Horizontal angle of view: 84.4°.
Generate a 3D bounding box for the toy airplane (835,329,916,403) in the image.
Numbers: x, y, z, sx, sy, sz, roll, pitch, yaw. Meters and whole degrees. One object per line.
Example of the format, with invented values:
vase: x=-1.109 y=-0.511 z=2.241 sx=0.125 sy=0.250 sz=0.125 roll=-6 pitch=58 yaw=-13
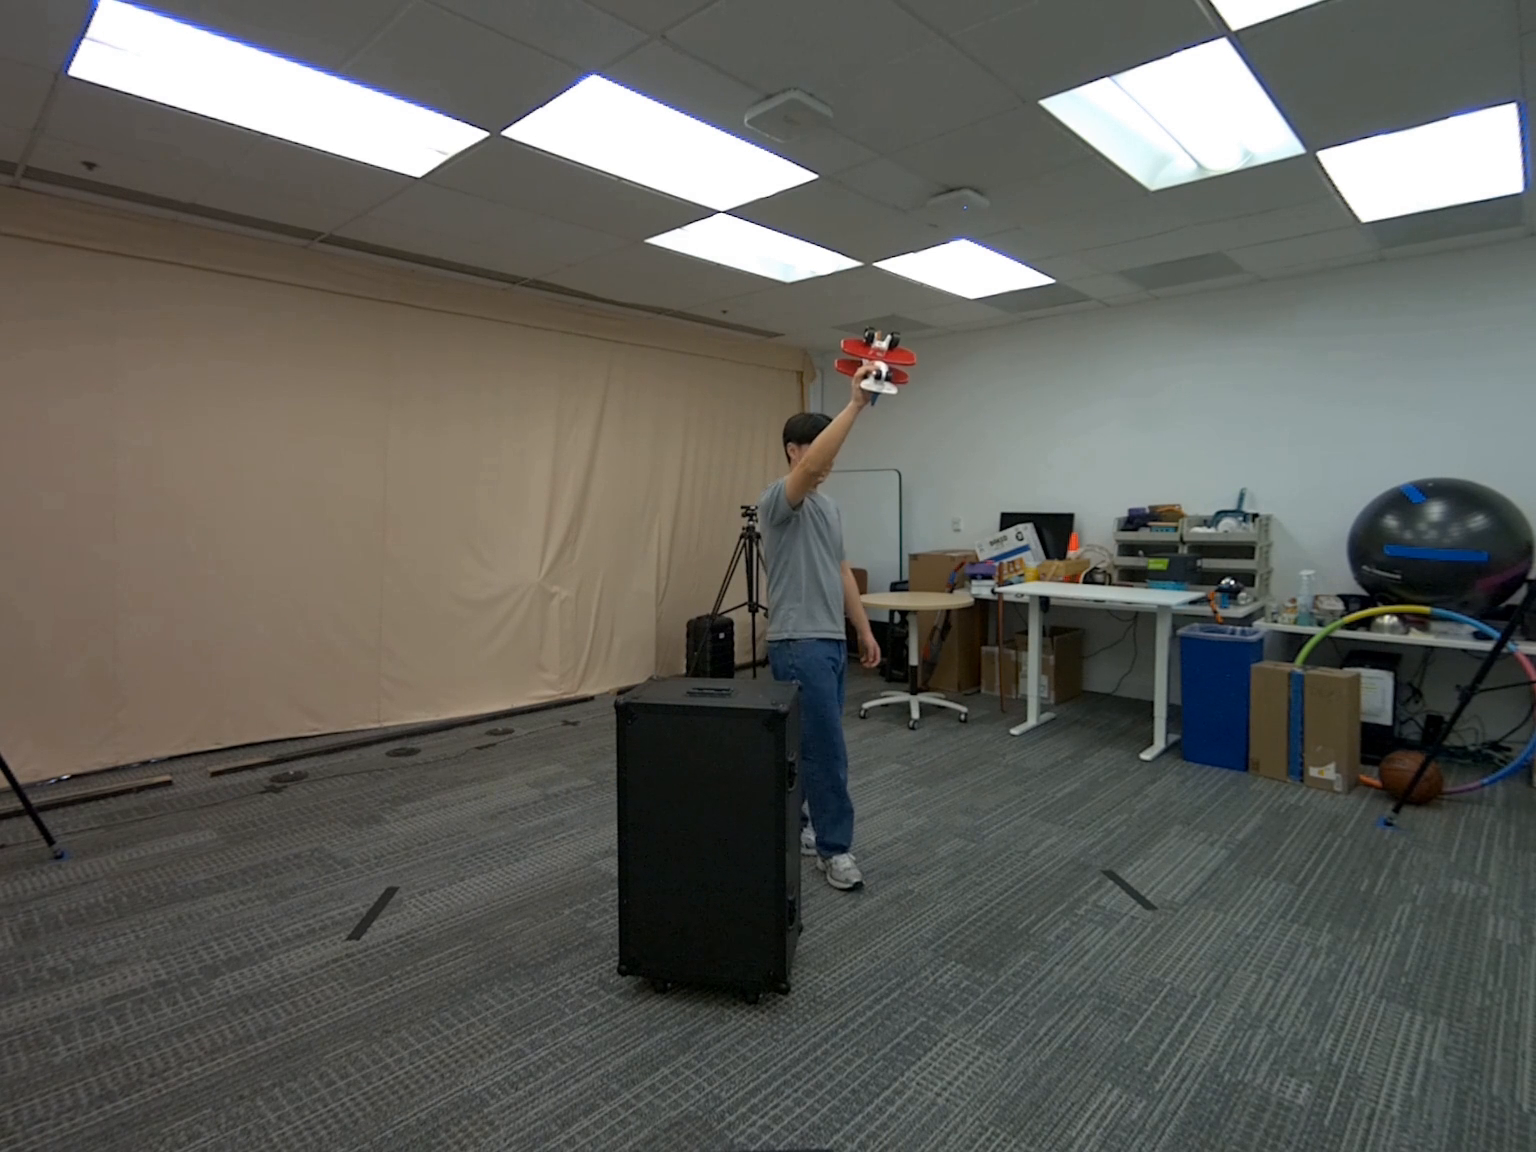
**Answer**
toy airplane: x=0.352 y=-0.699 z=2.790 sx=0.254 sy=0.258 sz=0.155 roll=32 pitch=-29 yaw=9
